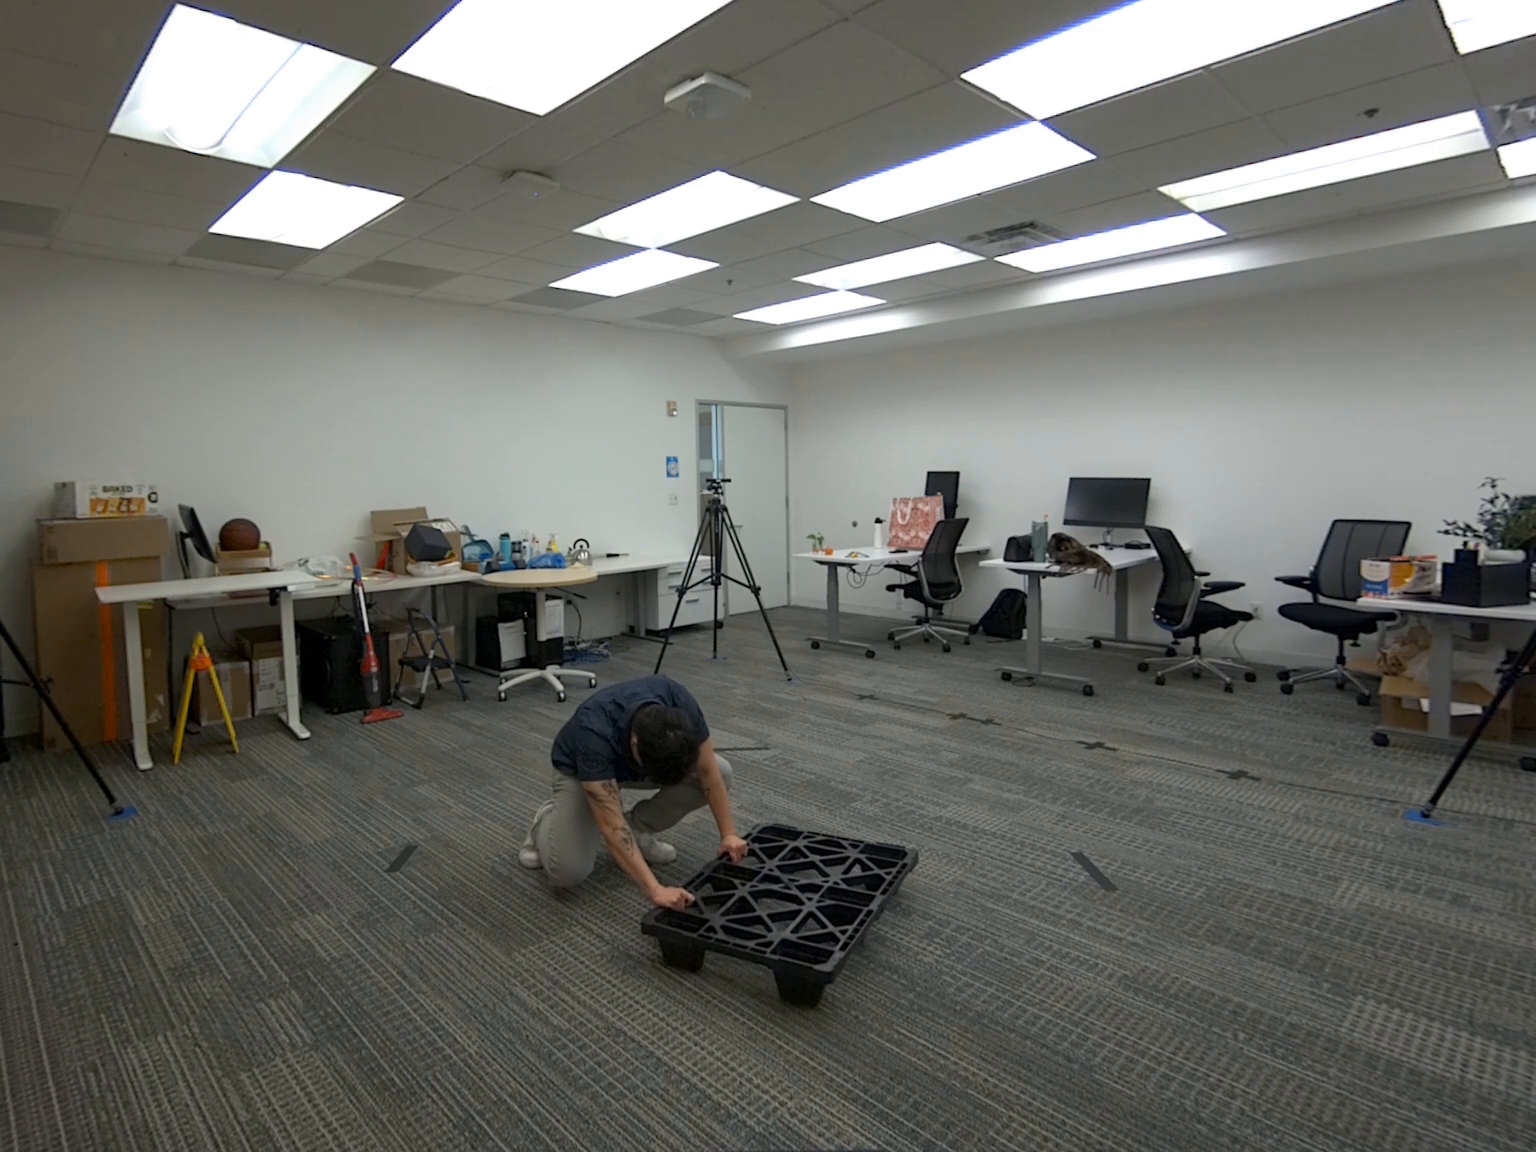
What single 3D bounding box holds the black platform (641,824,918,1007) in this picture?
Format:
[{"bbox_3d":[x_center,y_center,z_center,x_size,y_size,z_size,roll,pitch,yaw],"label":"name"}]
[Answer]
[{"bbox_3d":[0.079,1.022,2.668,0.620,0.142,0.790,2,8,27],"label":"black platform"}]
